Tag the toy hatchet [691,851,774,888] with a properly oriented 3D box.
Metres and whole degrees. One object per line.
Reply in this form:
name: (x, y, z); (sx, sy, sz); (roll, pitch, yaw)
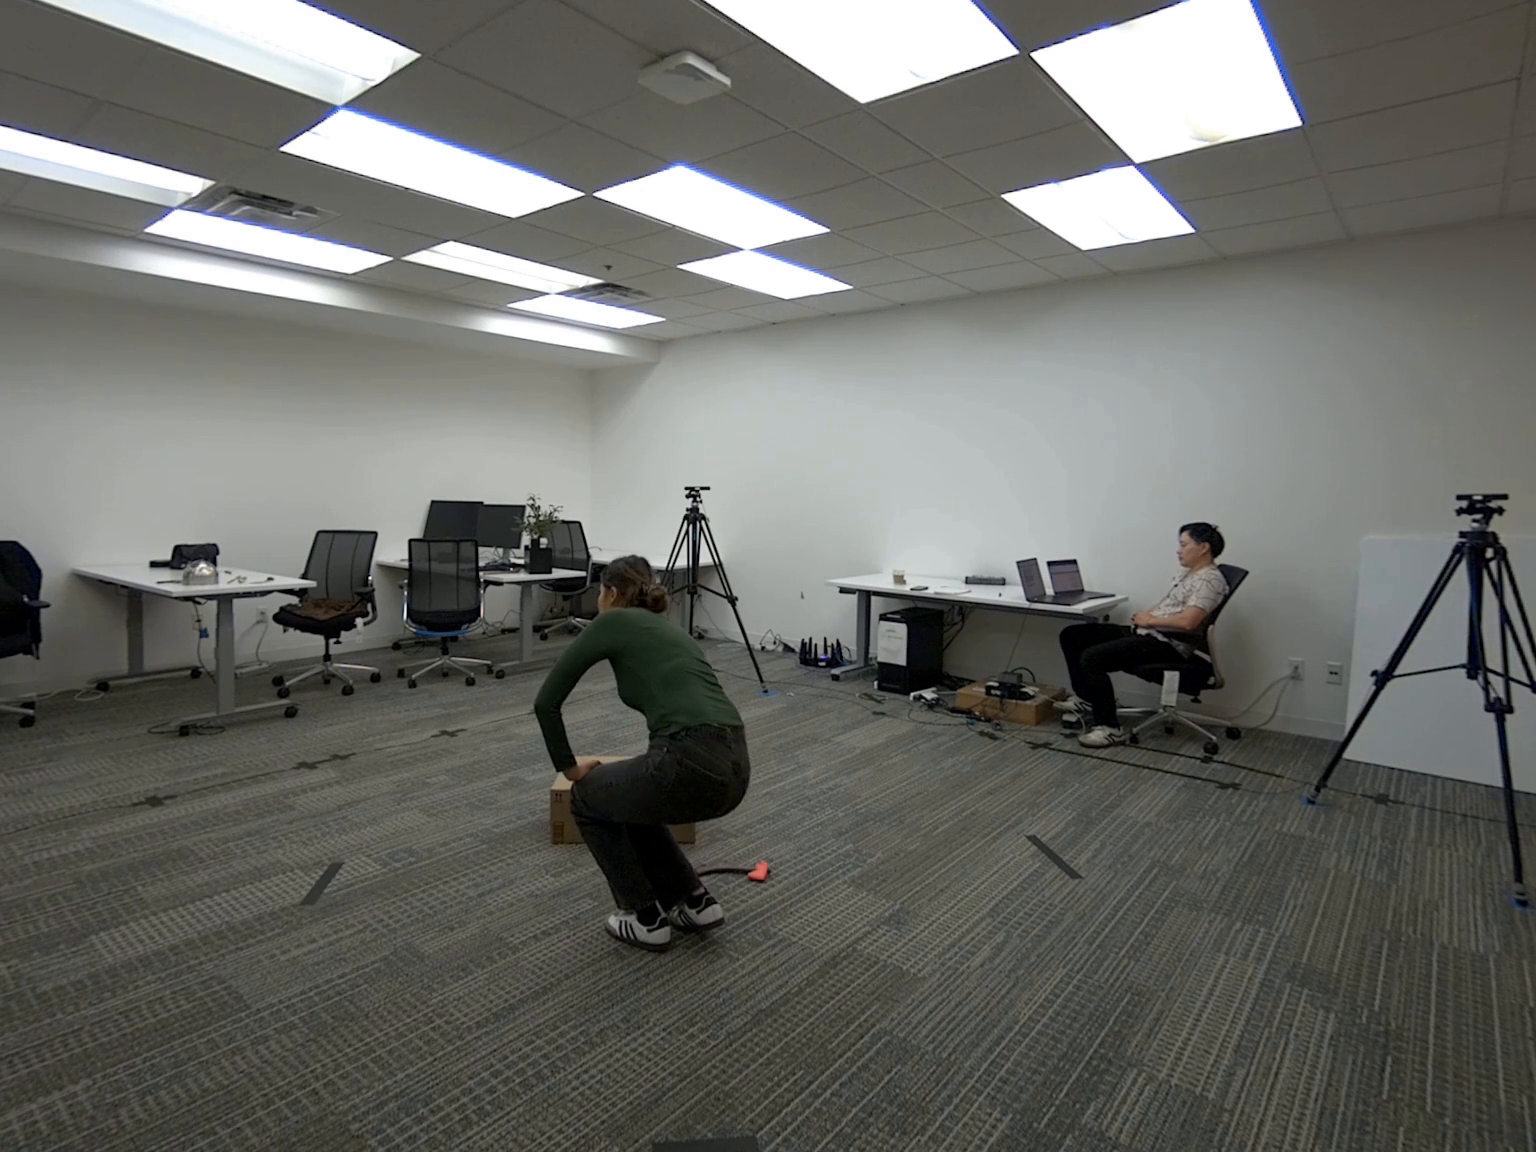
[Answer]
toy hatchet: (-0.130, 1.057, 3.035); (0.266, 0.029, 0.134); (-4, 10, -16)
